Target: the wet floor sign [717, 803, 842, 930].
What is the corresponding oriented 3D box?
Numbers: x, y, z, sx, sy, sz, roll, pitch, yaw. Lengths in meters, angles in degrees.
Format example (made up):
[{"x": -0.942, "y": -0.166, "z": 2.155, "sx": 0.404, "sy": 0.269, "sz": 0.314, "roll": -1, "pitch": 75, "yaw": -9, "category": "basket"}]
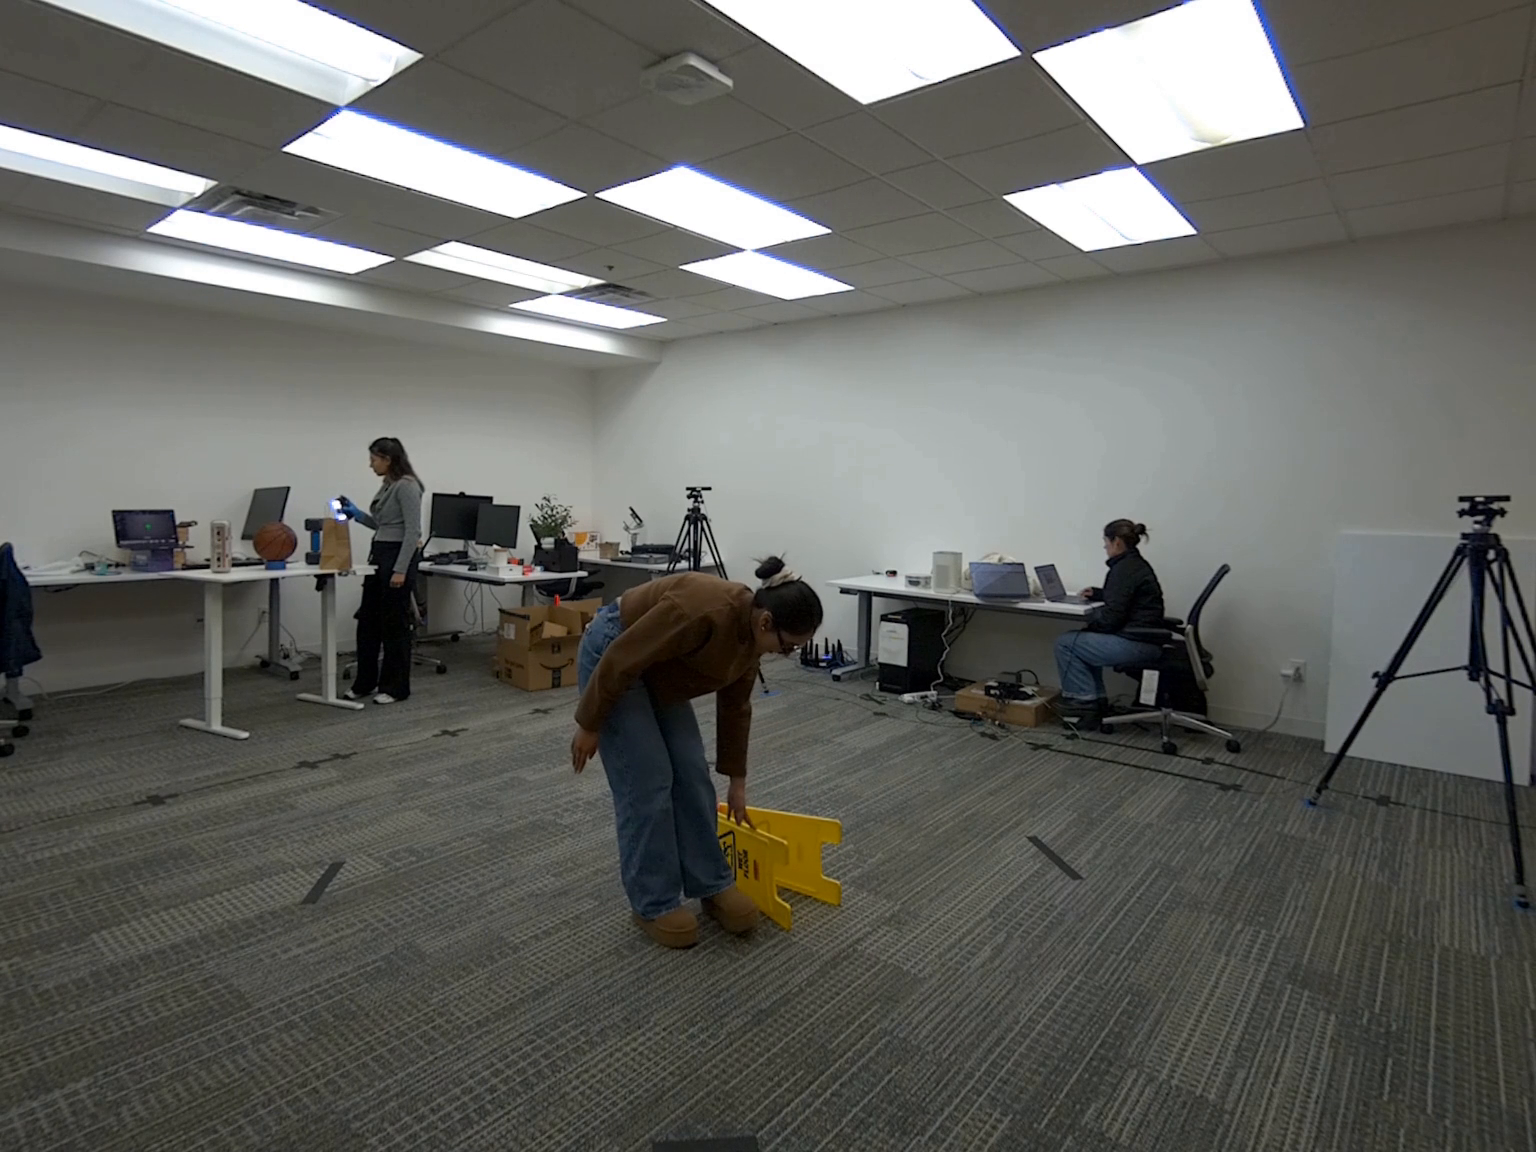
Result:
[{"x": -0.096, "y": 0.950, "z": 2.985, "sx": 0.667, "sy": 0.282, "sz": 0.281, "roll": 2, "pitch": 4, "yaw": 44, "category": "wet floor sign"}]
